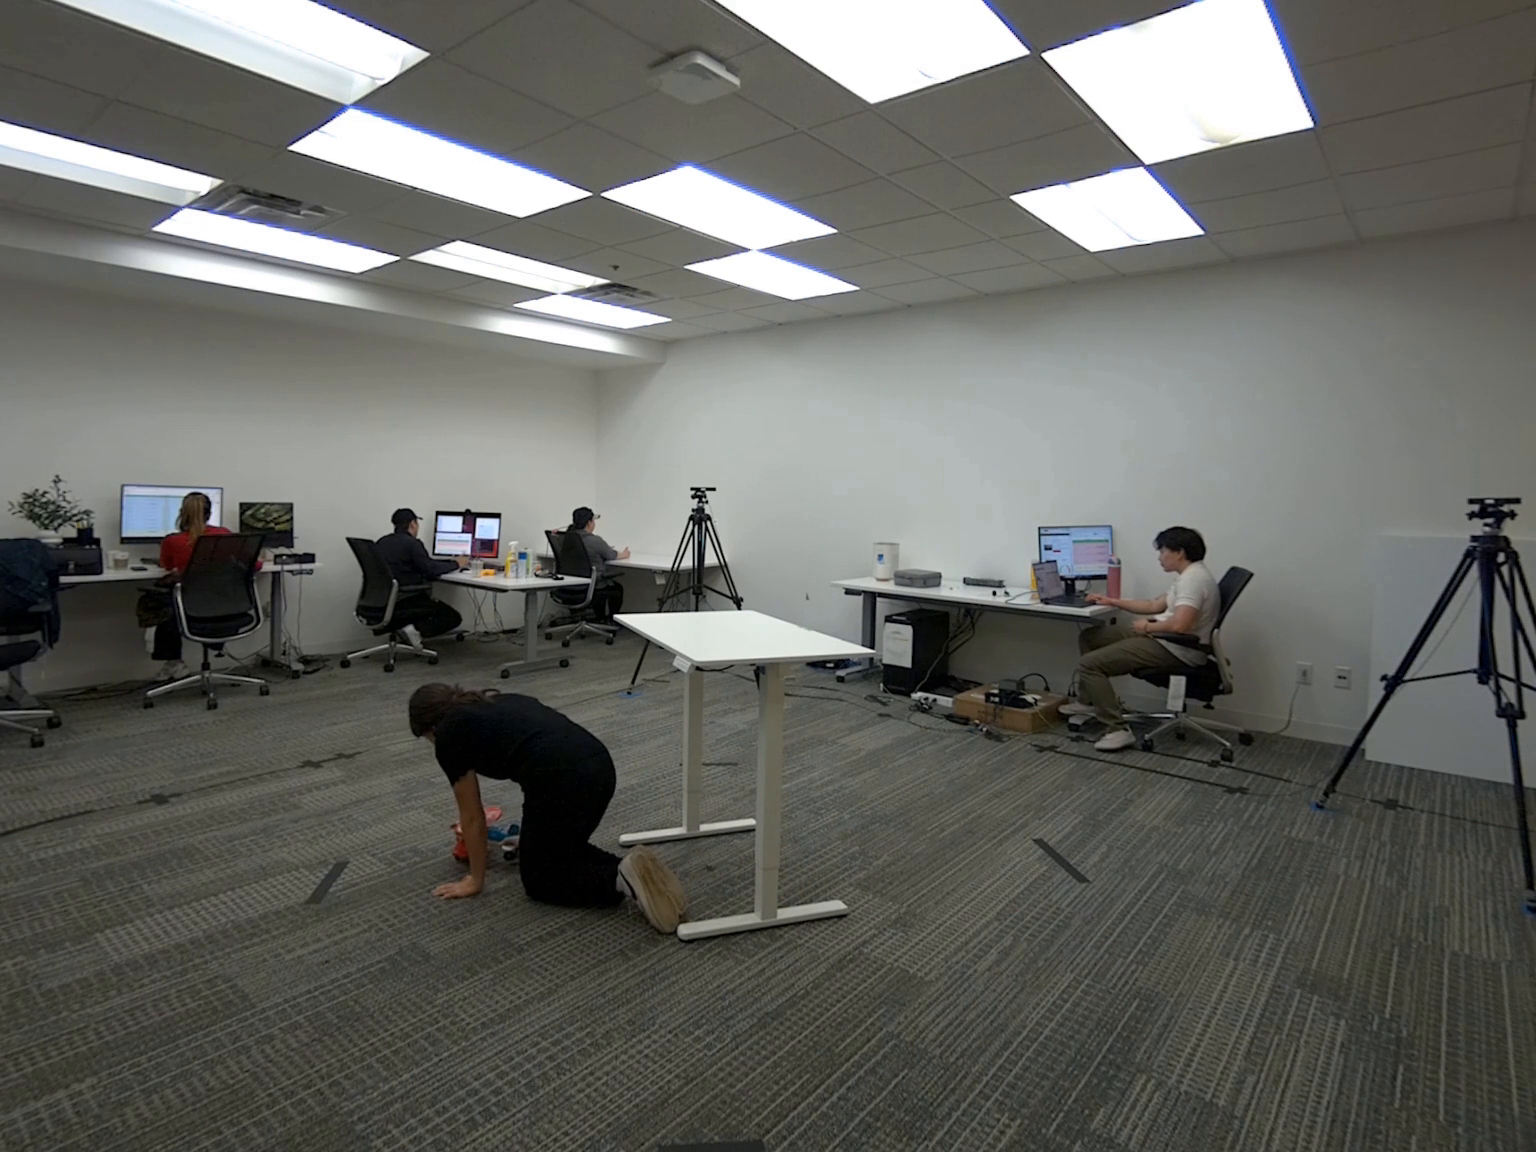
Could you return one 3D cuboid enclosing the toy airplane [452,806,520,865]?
[{"bbox_3d":[-1.052,0.966,3.165,0.256,0.156,0.255,-7,5,-15],"label":"toy airplane"}]
